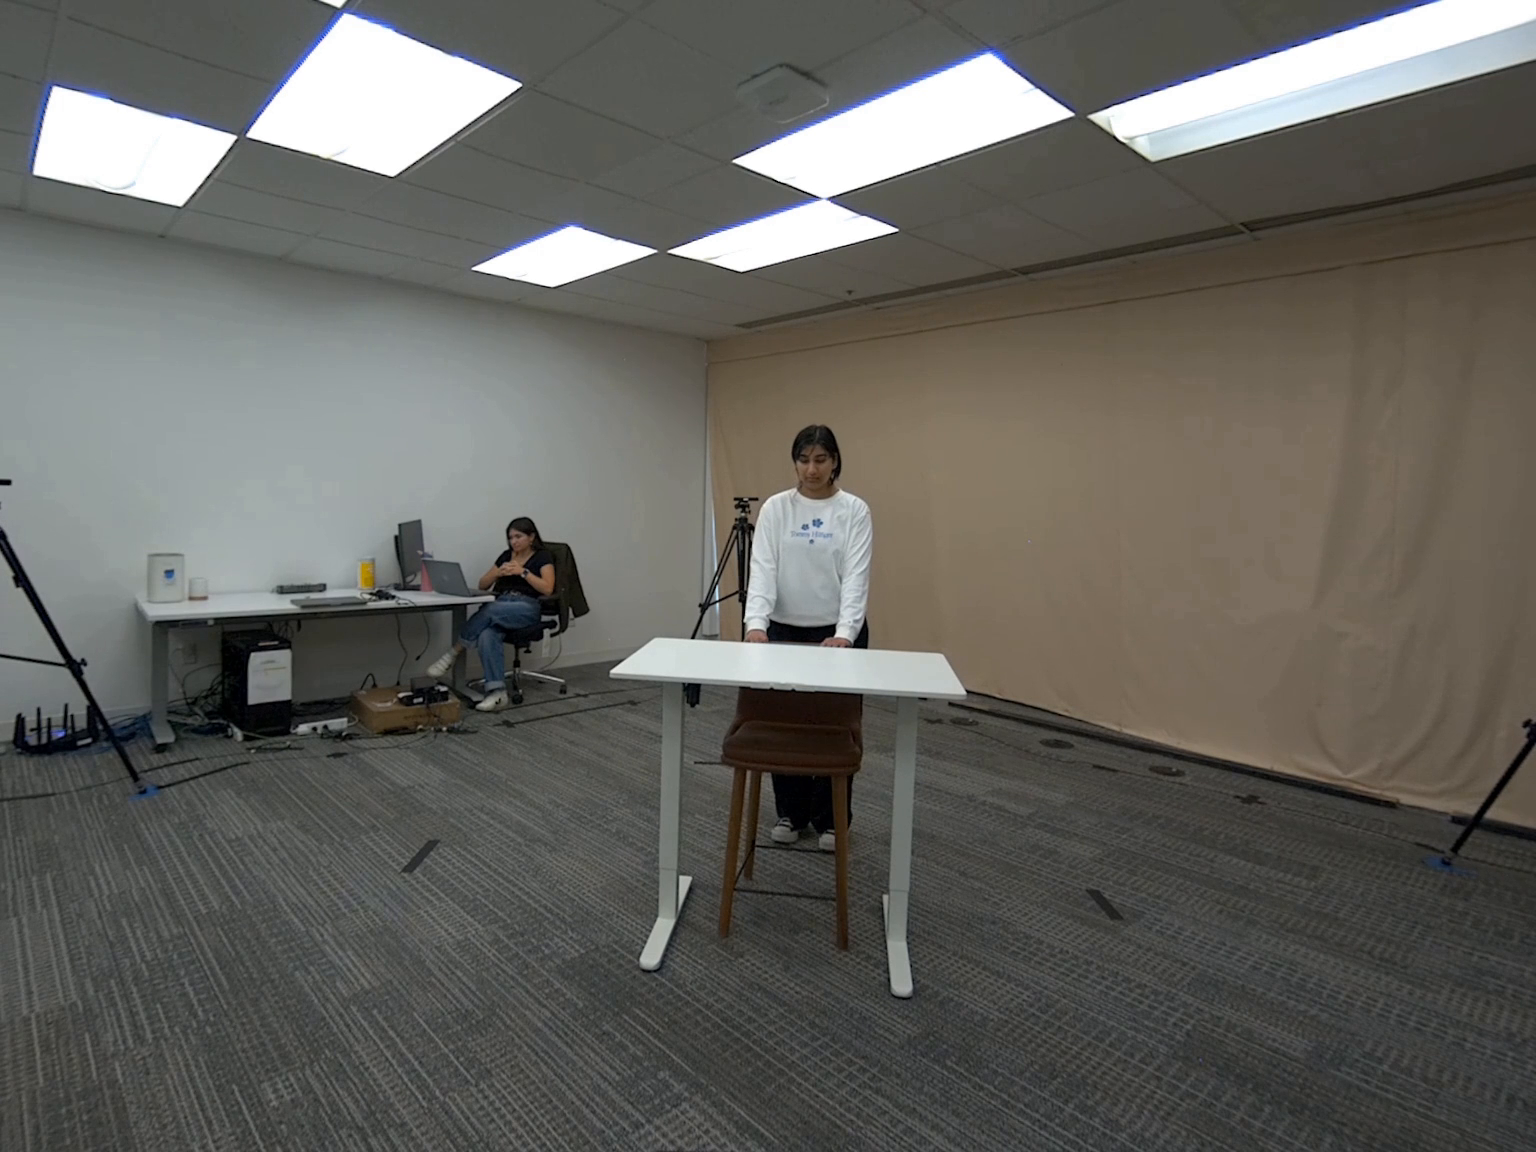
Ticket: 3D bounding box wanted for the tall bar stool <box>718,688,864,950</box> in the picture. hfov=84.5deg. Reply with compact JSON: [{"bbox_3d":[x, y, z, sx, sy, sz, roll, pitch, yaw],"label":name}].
[{"bbox_3d":[0.089,0.711,2.833,0.460,0.888,0.464,2,2,9],"label":"tall bar stool"}]
